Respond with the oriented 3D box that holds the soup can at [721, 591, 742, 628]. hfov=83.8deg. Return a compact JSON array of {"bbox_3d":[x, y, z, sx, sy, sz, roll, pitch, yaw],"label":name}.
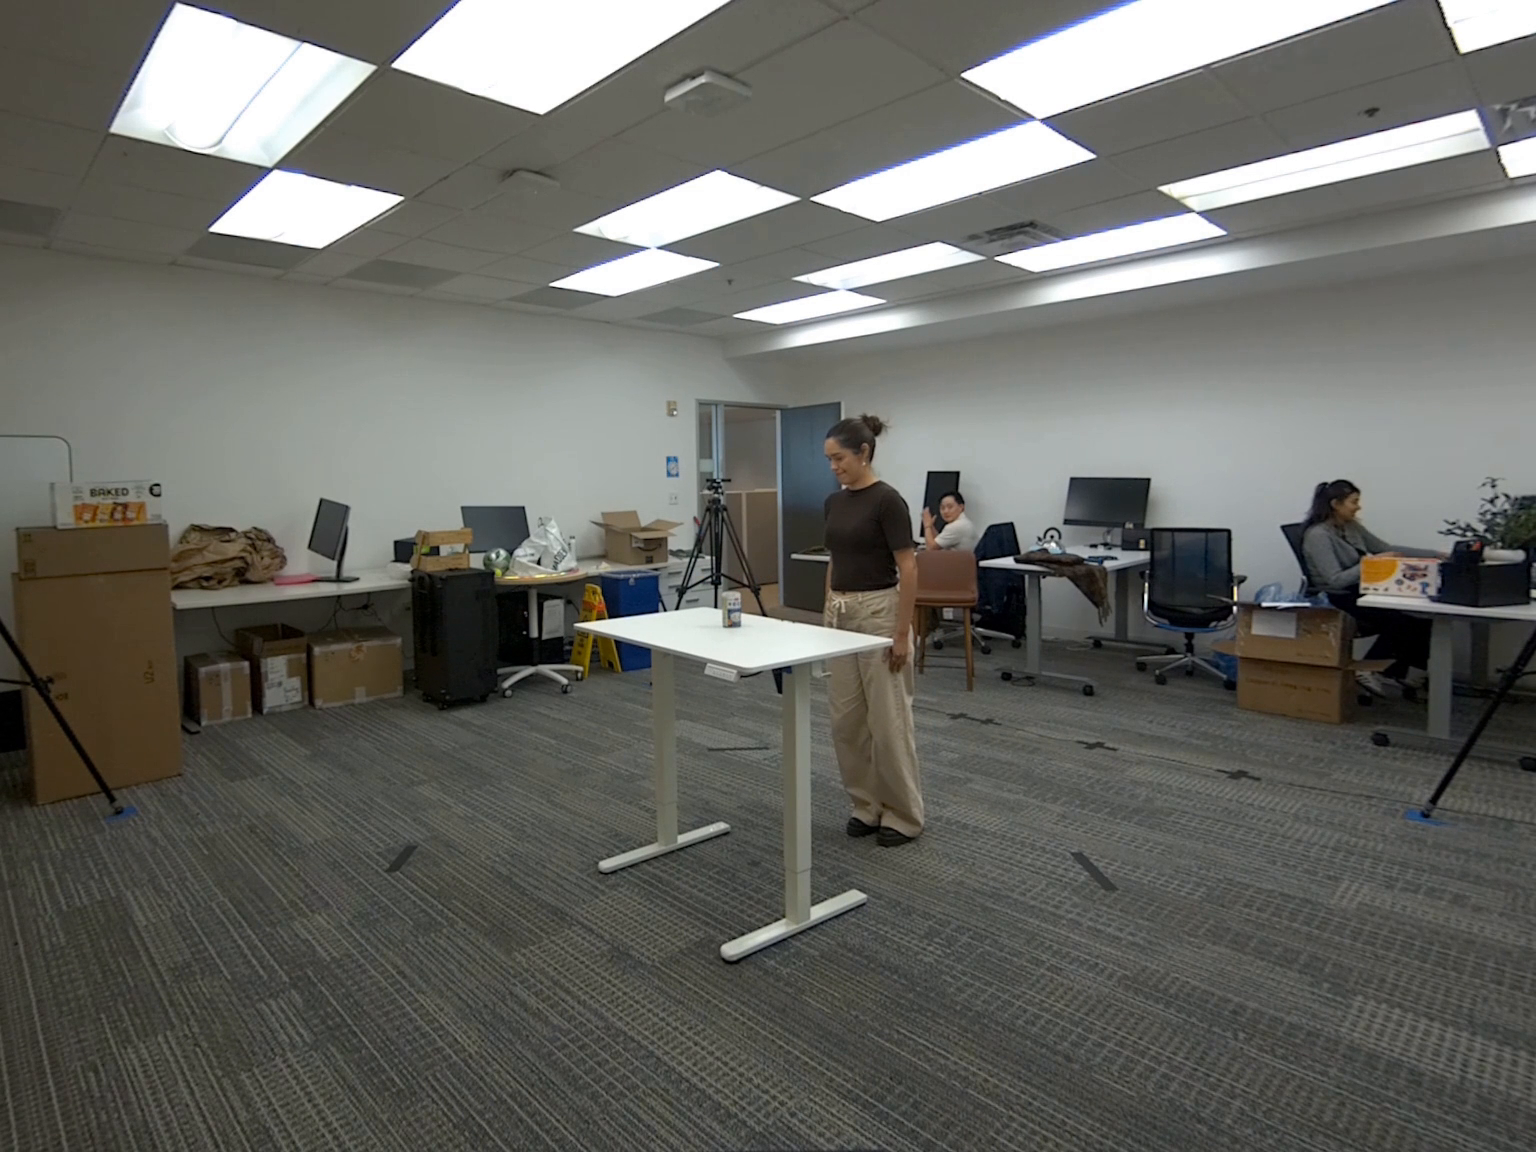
[{"bbox_3d":[-0.119,0.117,2.982,0.067,0.121,0.067,-1,5,-2],"label":"soup can"}]
